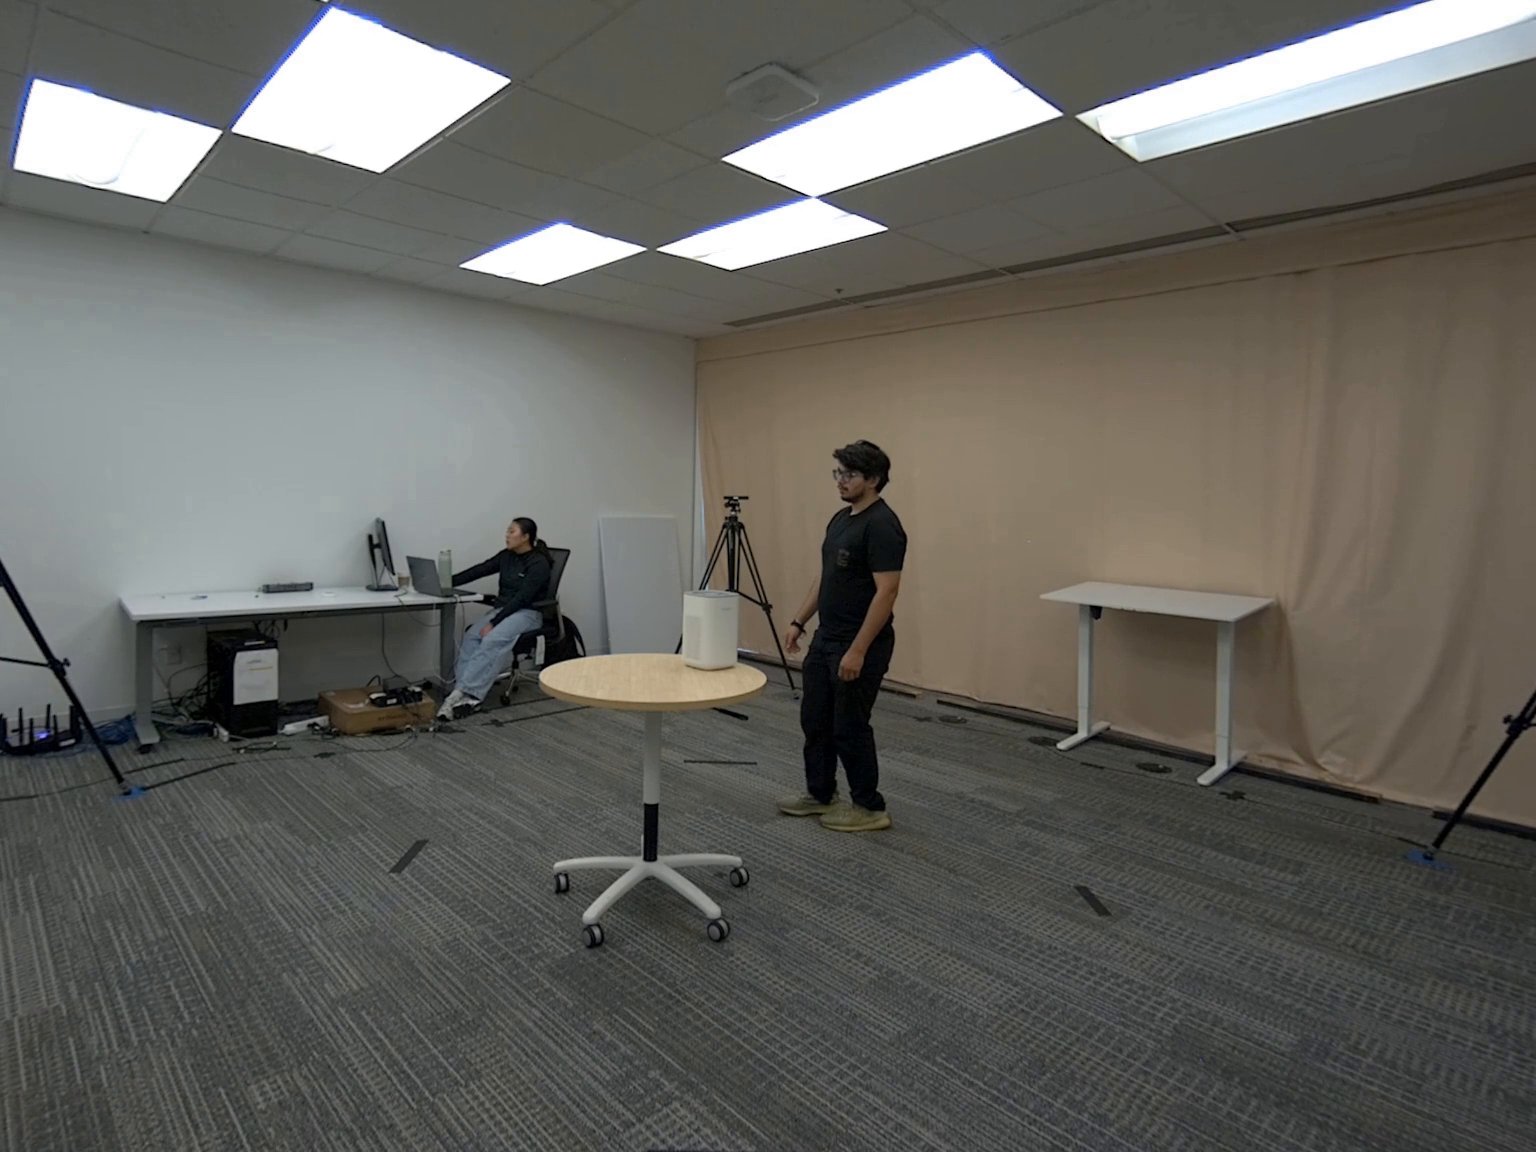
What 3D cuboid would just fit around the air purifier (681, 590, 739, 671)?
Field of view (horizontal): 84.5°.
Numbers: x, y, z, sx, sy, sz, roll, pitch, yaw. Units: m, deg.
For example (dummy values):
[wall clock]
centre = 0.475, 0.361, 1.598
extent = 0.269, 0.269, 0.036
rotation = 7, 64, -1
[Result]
[air purifier]
centre = -0.214, 0.192, 3.026
extent = 0.167, 0.265, 0.176
rotation = -2, 5, -44
